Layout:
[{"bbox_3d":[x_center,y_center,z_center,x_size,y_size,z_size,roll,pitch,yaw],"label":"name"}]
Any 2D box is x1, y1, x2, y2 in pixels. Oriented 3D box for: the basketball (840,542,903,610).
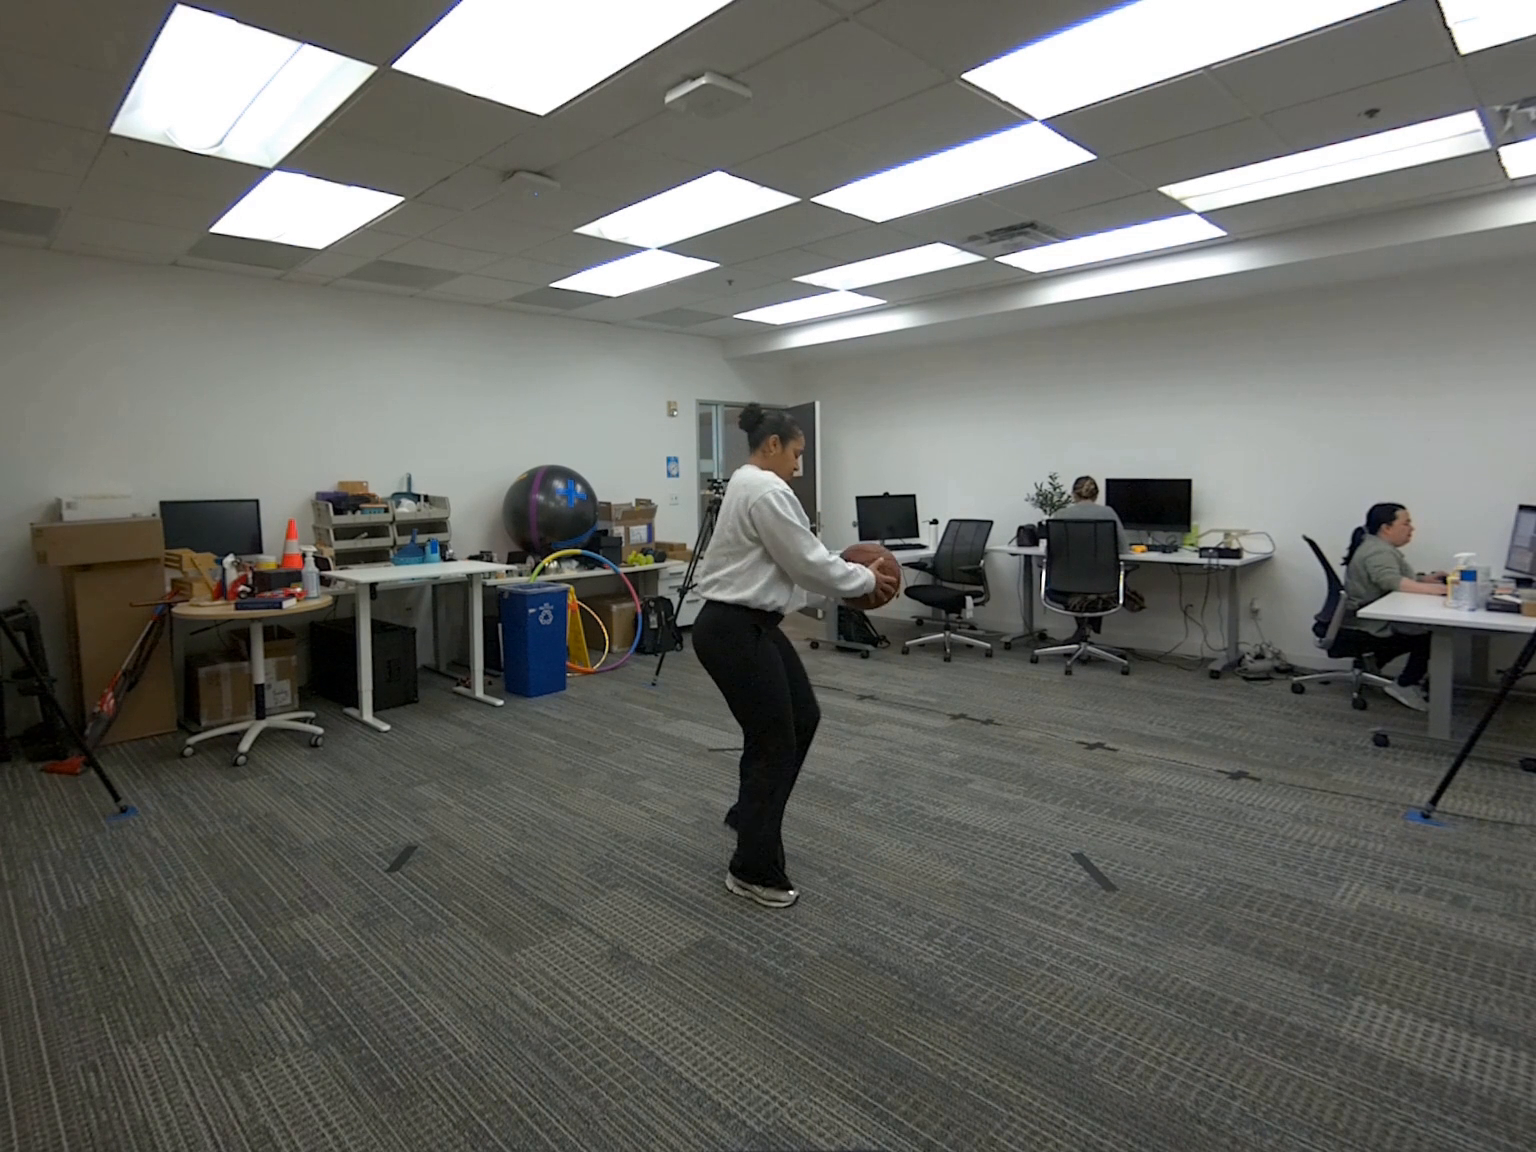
[{"bbox_3d":[0.347,0.015,3.027,0.236,0.235,0.237,-1,5,-2],"label":"basketball"}]
